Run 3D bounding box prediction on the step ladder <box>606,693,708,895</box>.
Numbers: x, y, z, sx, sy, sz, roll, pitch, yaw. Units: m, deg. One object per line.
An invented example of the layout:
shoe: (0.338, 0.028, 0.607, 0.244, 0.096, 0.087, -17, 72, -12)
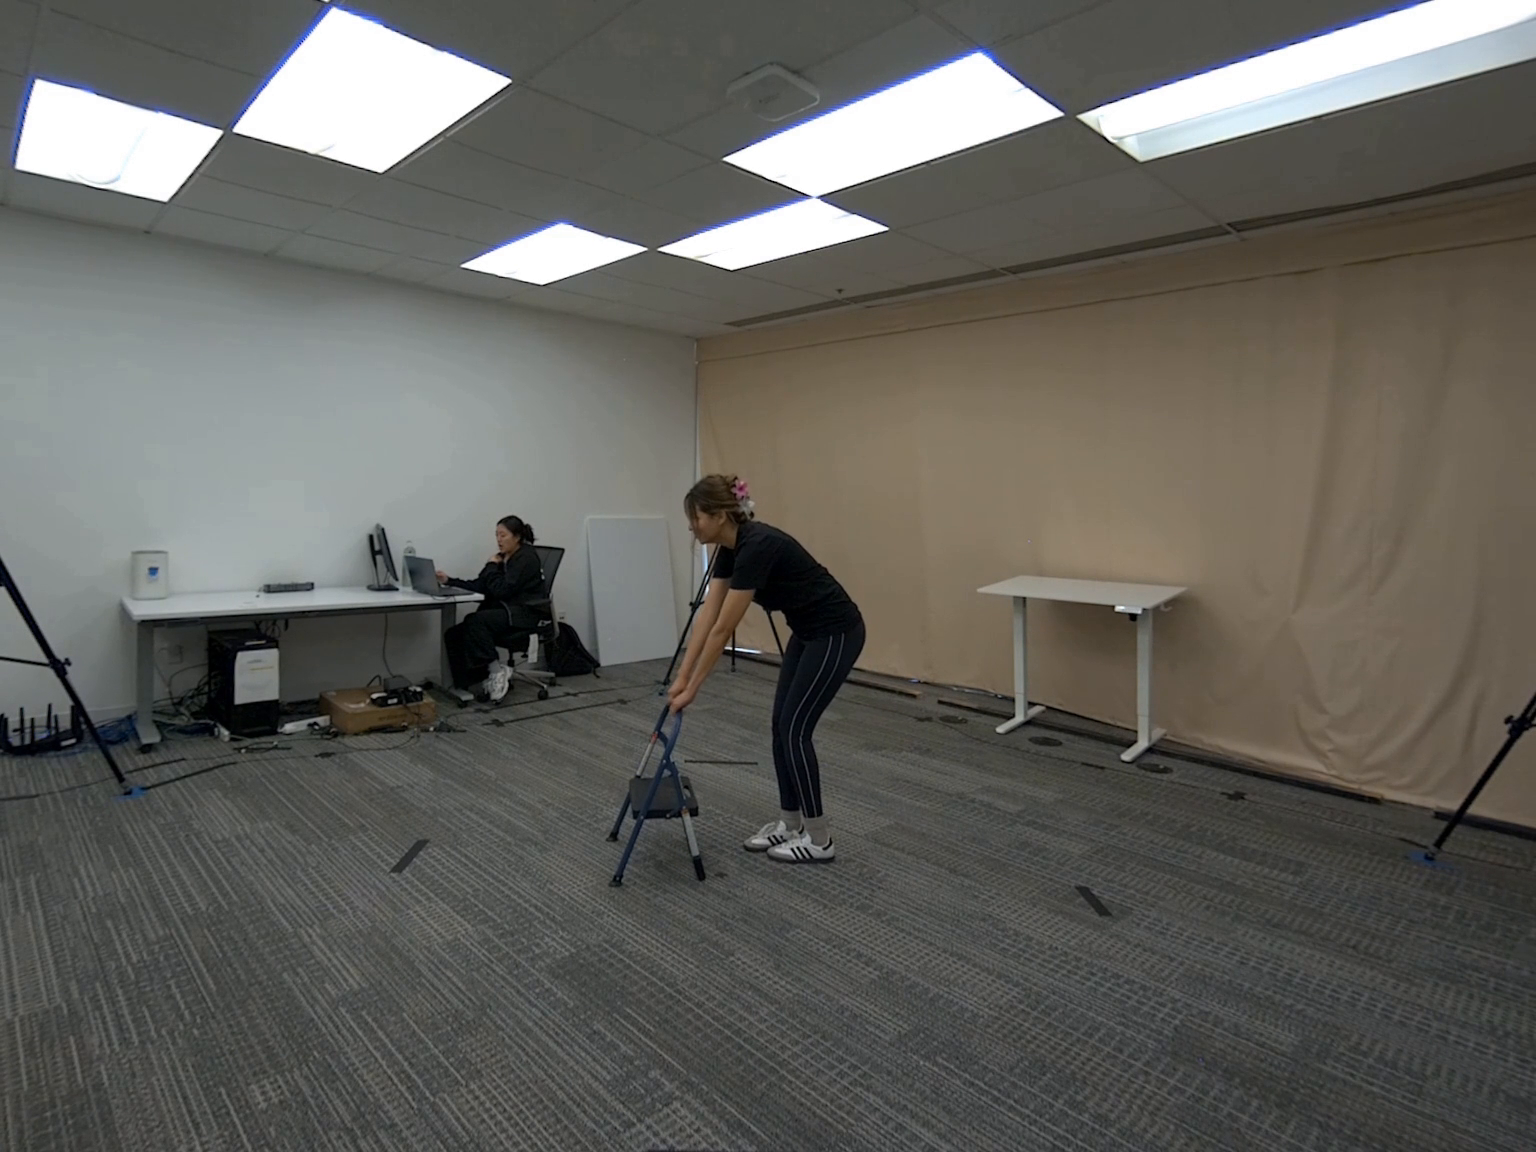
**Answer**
step ladder: (-0.434, 0.795, 3.204, 0.346, 0.604, 0.435, 0, 4, -11)
